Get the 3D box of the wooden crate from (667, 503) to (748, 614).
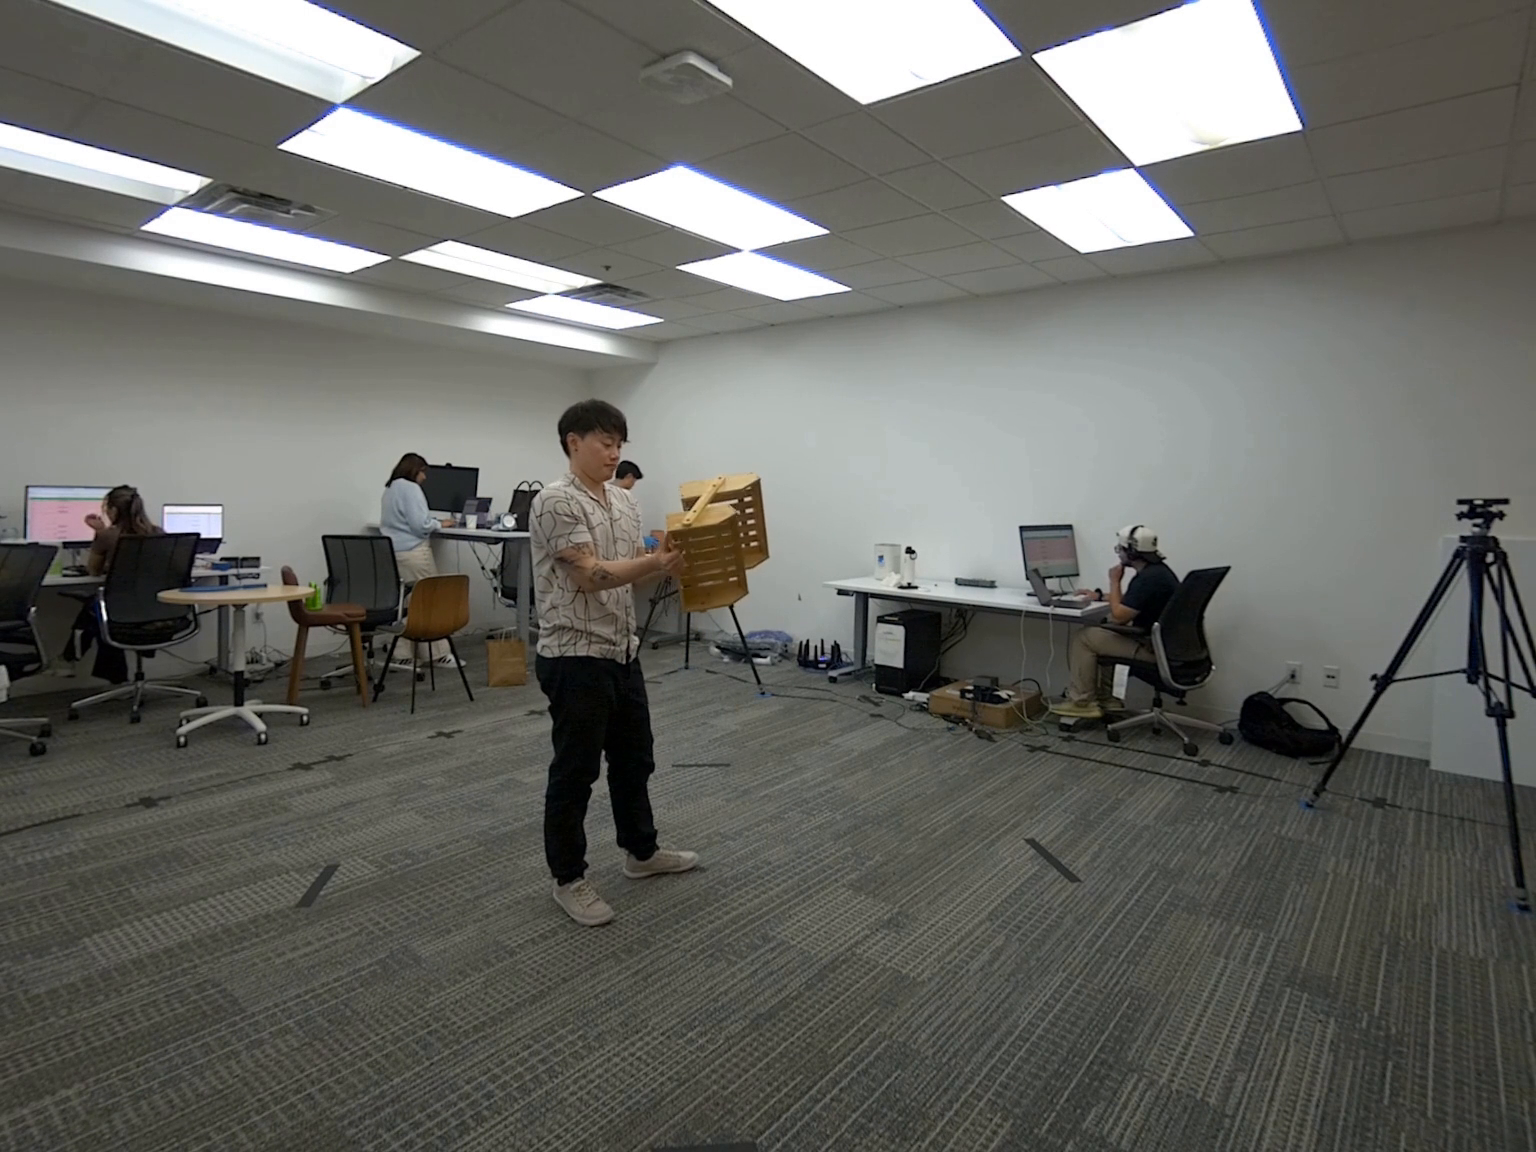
[{"bbox_3d":[-0.159,-0.099,2.598,0.302,0.314,0.282,-9,34,-1],"label":"wooden crate"}]
